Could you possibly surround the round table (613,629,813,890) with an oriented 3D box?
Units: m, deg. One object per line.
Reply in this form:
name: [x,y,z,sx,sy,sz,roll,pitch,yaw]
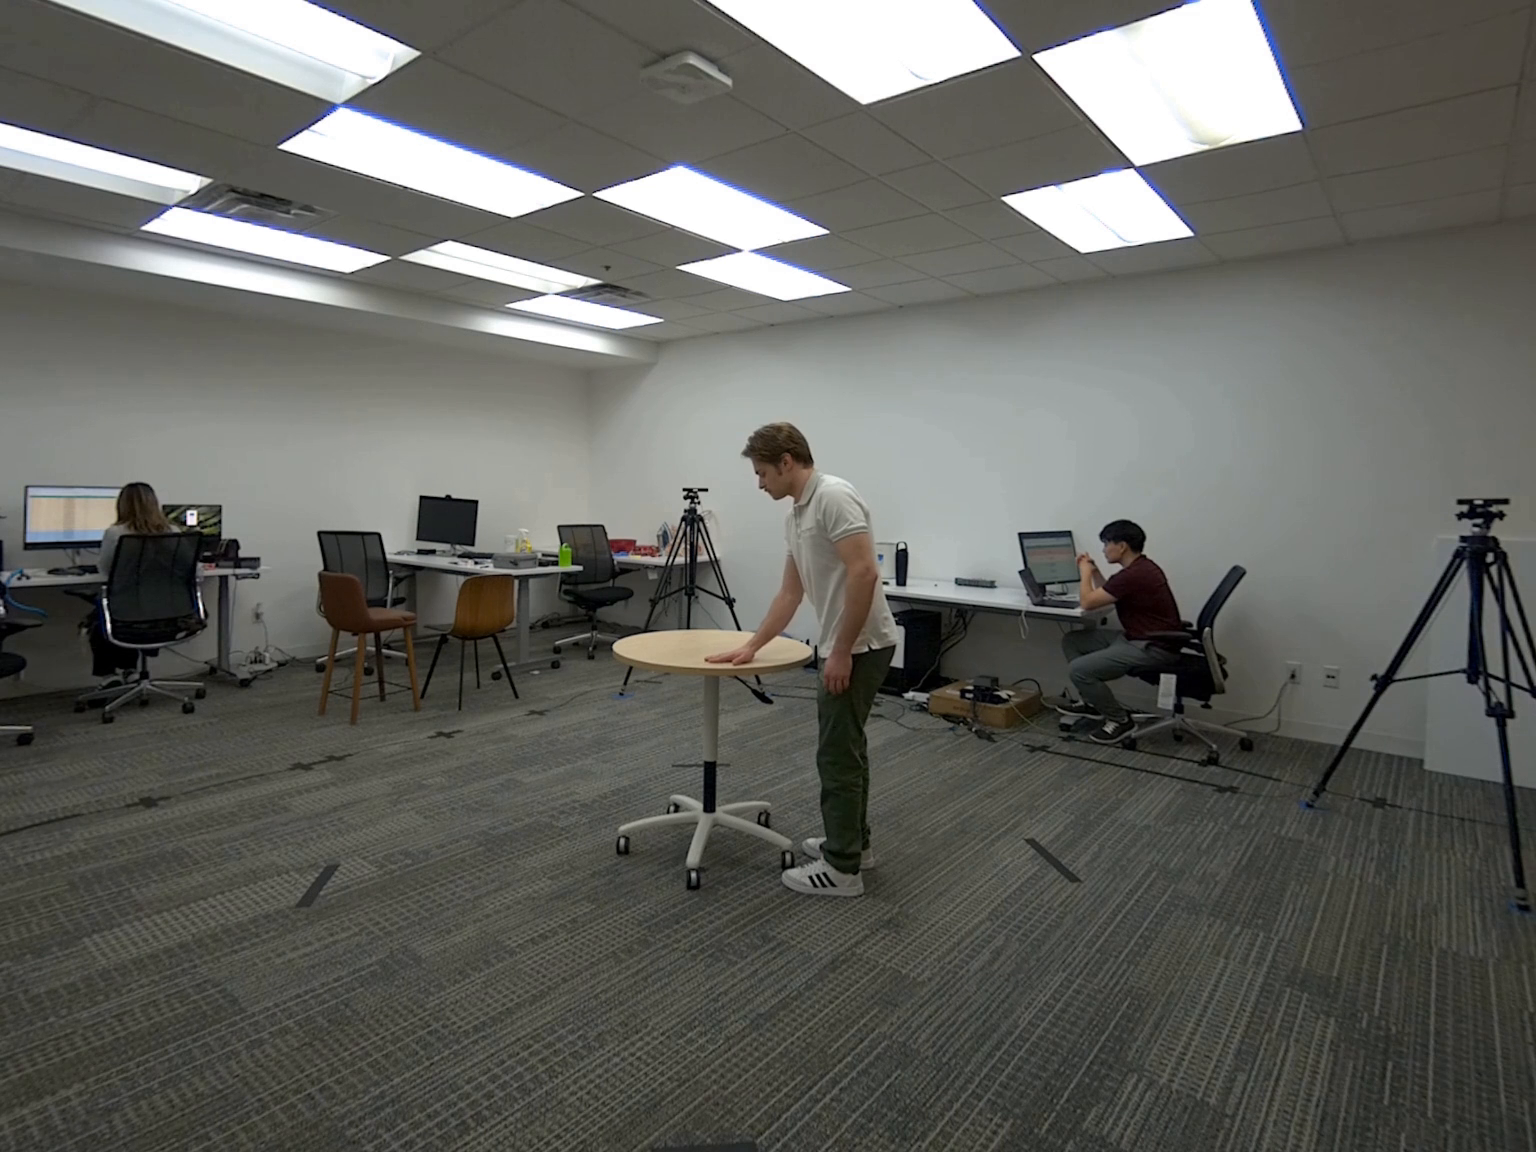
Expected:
round table: [-0.239,0.656,3.304,0.784,0.784,0.789,1,4,-2]
